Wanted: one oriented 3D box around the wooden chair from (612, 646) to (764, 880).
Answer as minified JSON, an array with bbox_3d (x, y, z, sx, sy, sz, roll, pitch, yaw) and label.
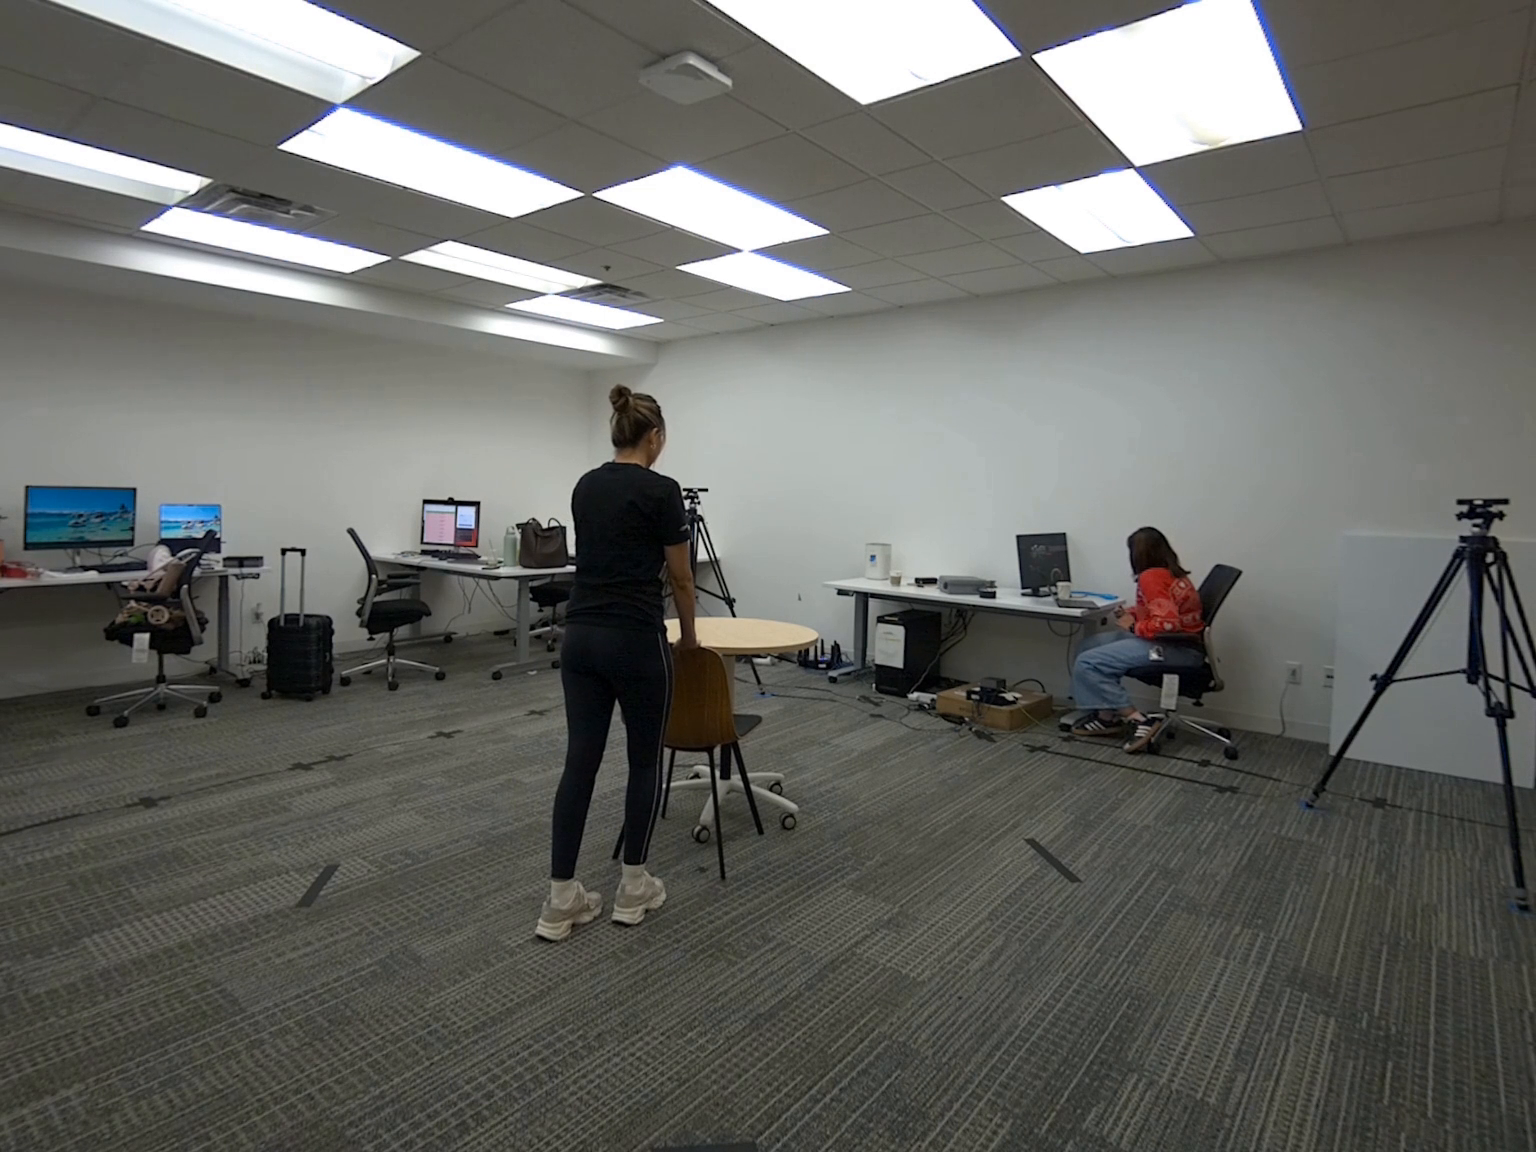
[{"bbox_3d":[-0.299,0.621,3.288,0.488,0.872,0.515,2,7,20],"label":"wooden chair"}]
